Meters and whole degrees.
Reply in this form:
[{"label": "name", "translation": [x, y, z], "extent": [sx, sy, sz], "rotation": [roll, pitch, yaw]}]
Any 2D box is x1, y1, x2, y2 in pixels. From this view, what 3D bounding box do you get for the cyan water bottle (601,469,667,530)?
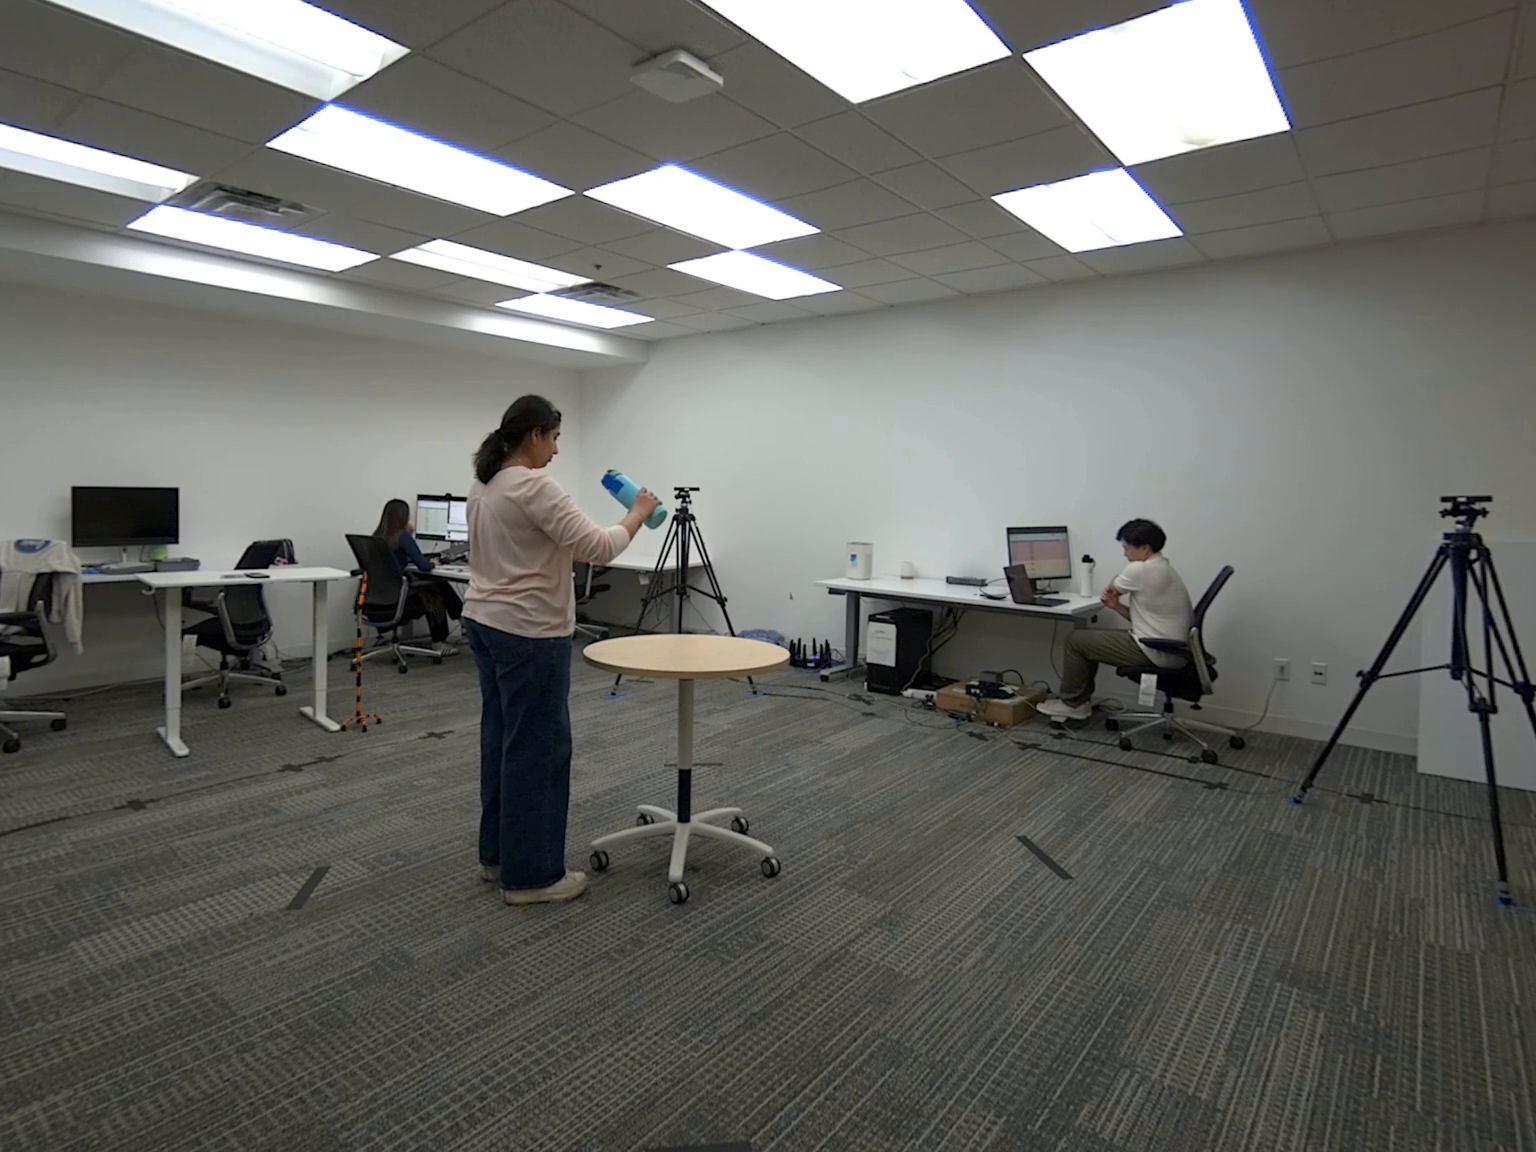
[{"label": "cyan water bottle", "translation": [-0.505, -0.288, 3.086], "extent": [0.291, 0.092, 0.090], "rotation": [41, 19, 19]}]
